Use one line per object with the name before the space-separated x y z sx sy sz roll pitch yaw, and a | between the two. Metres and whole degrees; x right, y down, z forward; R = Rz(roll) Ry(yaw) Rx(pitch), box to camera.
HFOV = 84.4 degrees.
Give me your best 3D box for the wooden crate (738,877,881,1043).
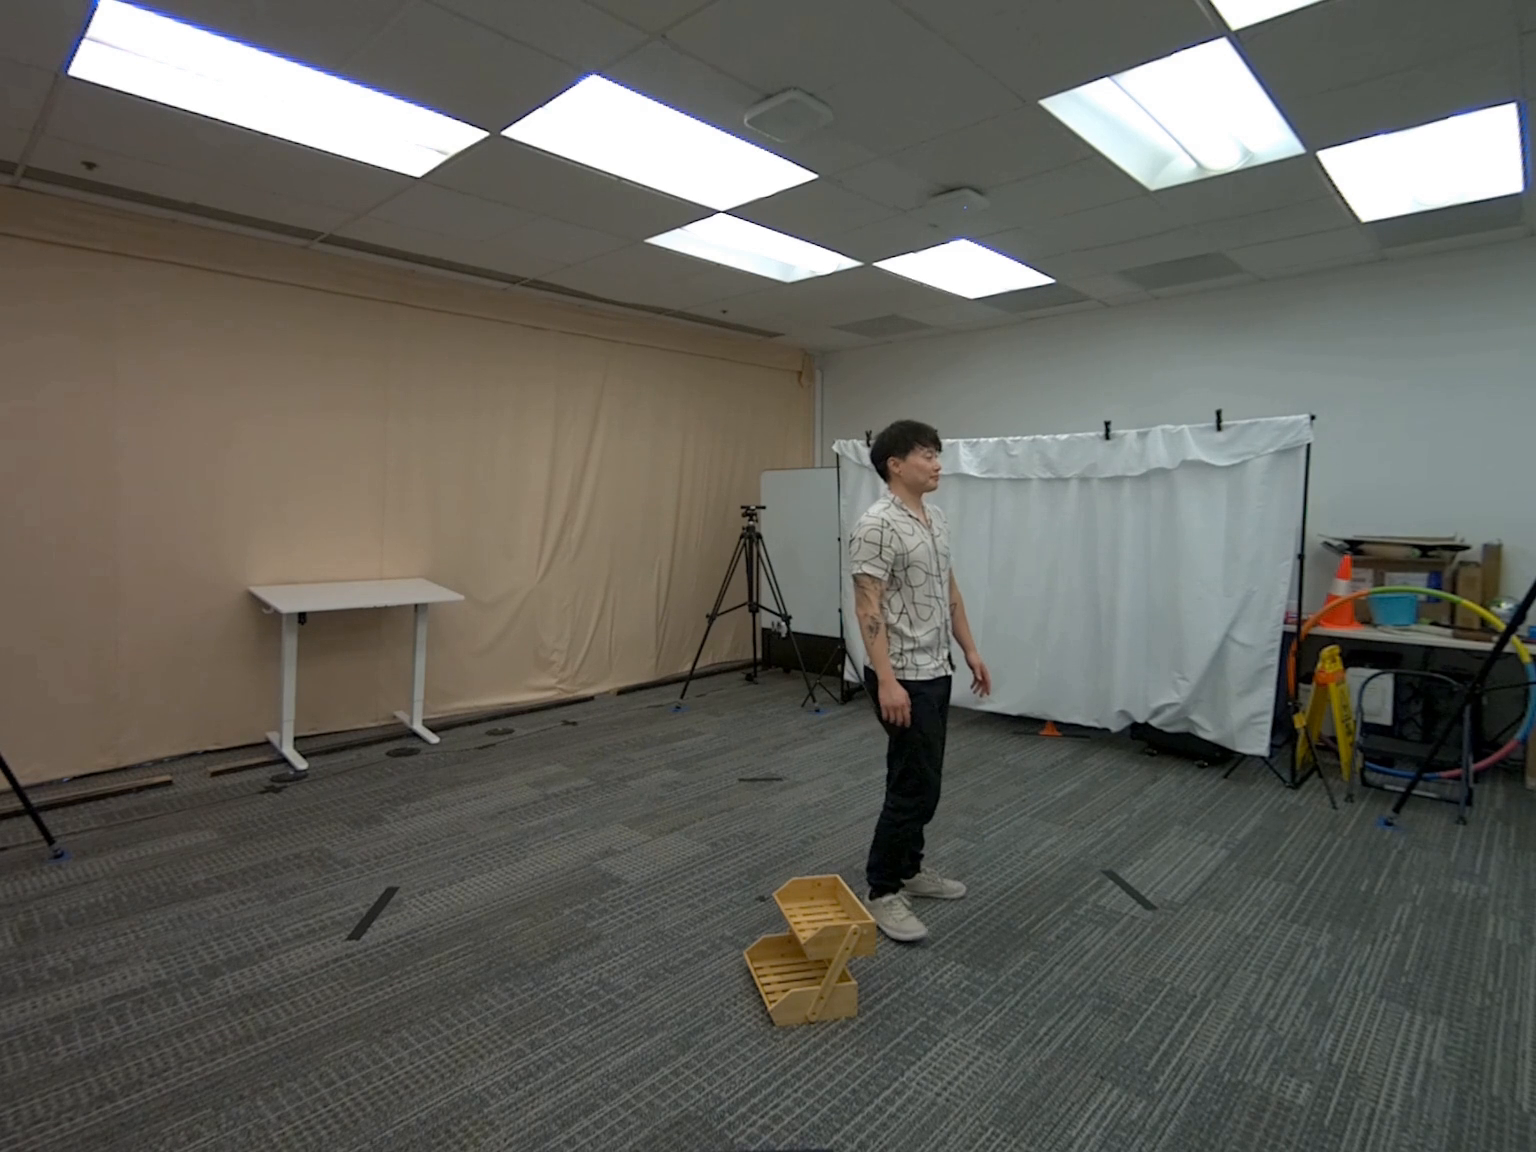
wooden crate | 0.105 1.065 2.390 0.297 0.273 0.330 1 4 -15
